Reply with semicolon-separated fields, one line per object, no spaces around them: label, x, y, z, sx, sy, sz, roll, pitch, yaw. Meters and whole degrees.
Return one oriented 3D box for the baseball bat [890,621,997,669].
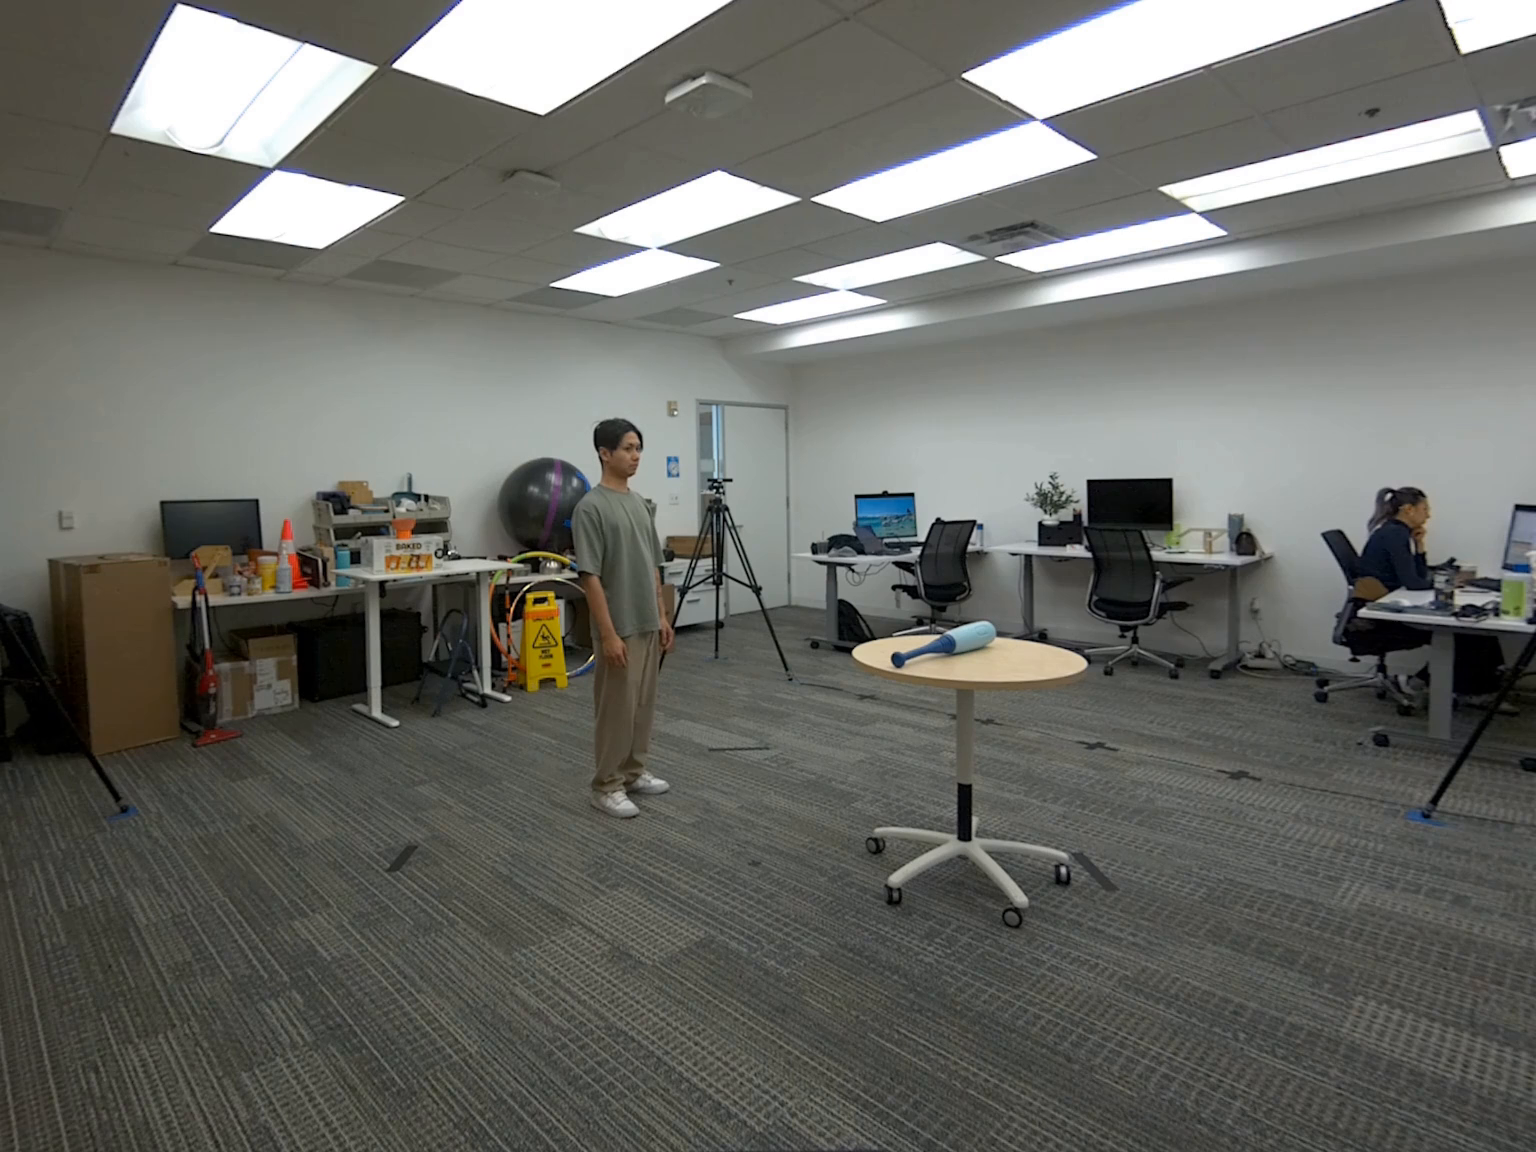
baseball bat;0.599;0.234;2.901;0.529;0.088;0.092;-10;9;-43
